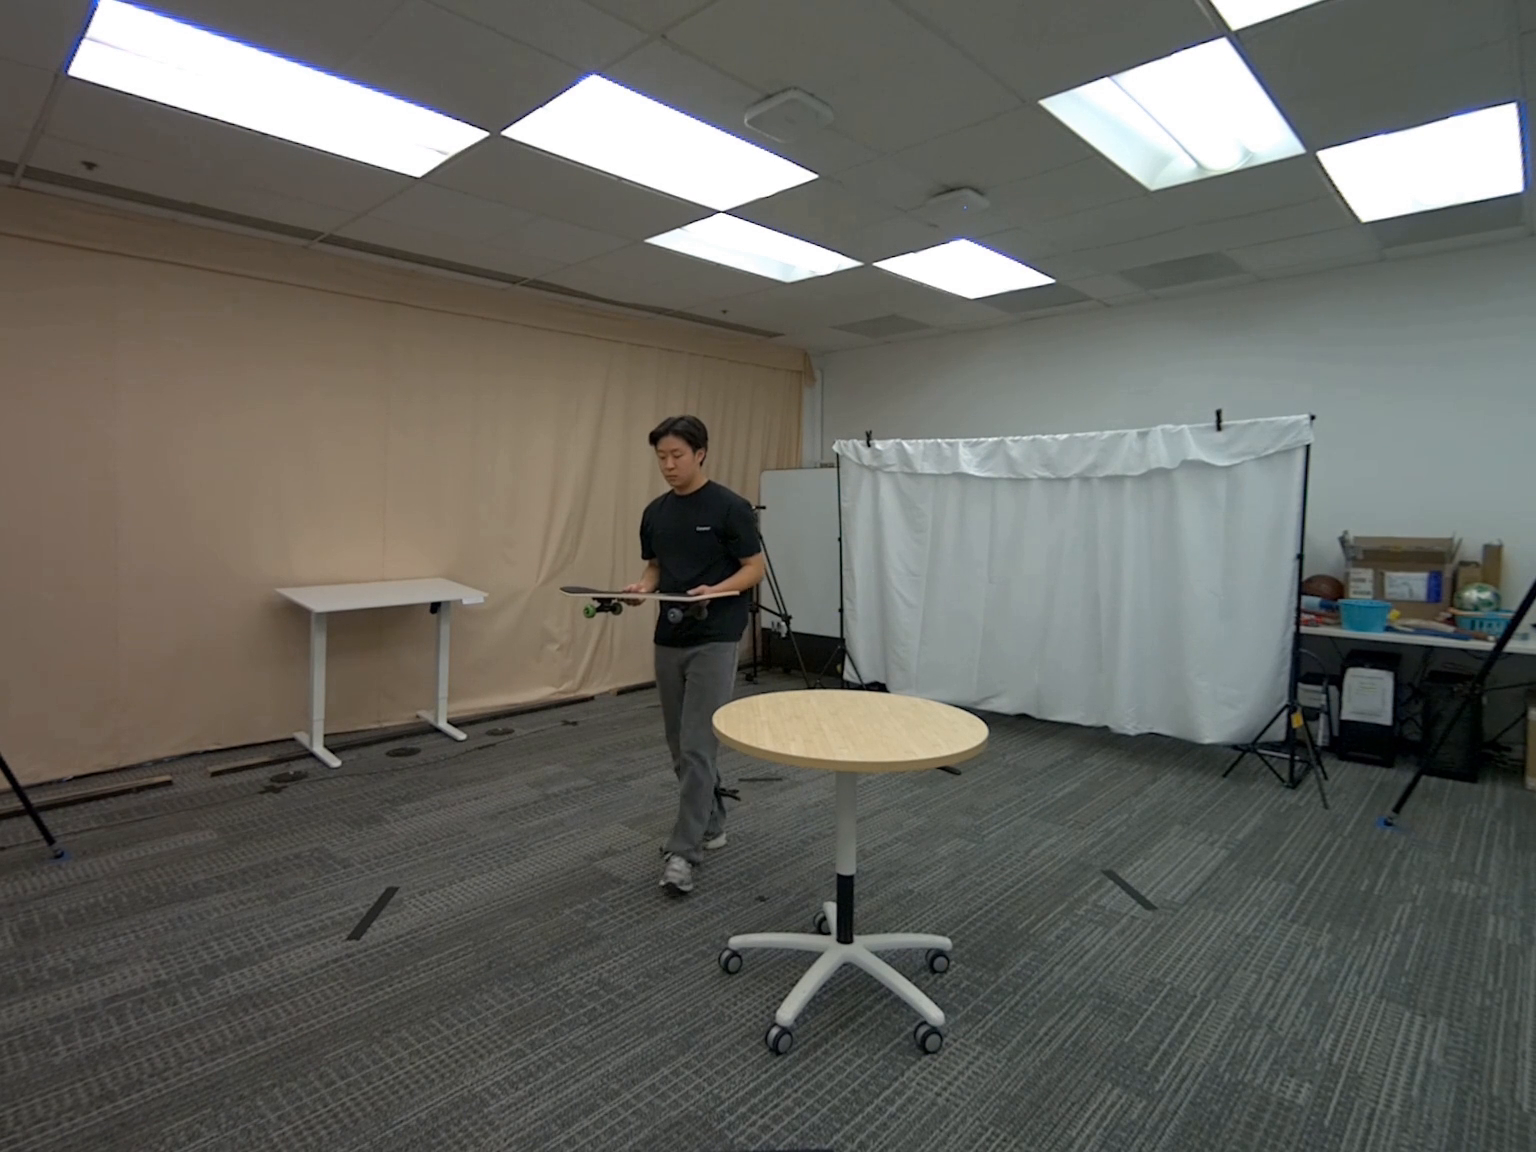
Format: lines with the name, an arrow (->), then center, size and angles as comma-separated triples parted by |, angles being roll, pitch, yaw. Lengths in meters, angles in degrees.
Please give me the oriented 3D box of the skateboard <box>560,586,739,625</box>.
skateboard -> -0.452, 0.103, 3.079 | 0.810, 0.110, 0.187 | 1, 1, 35
